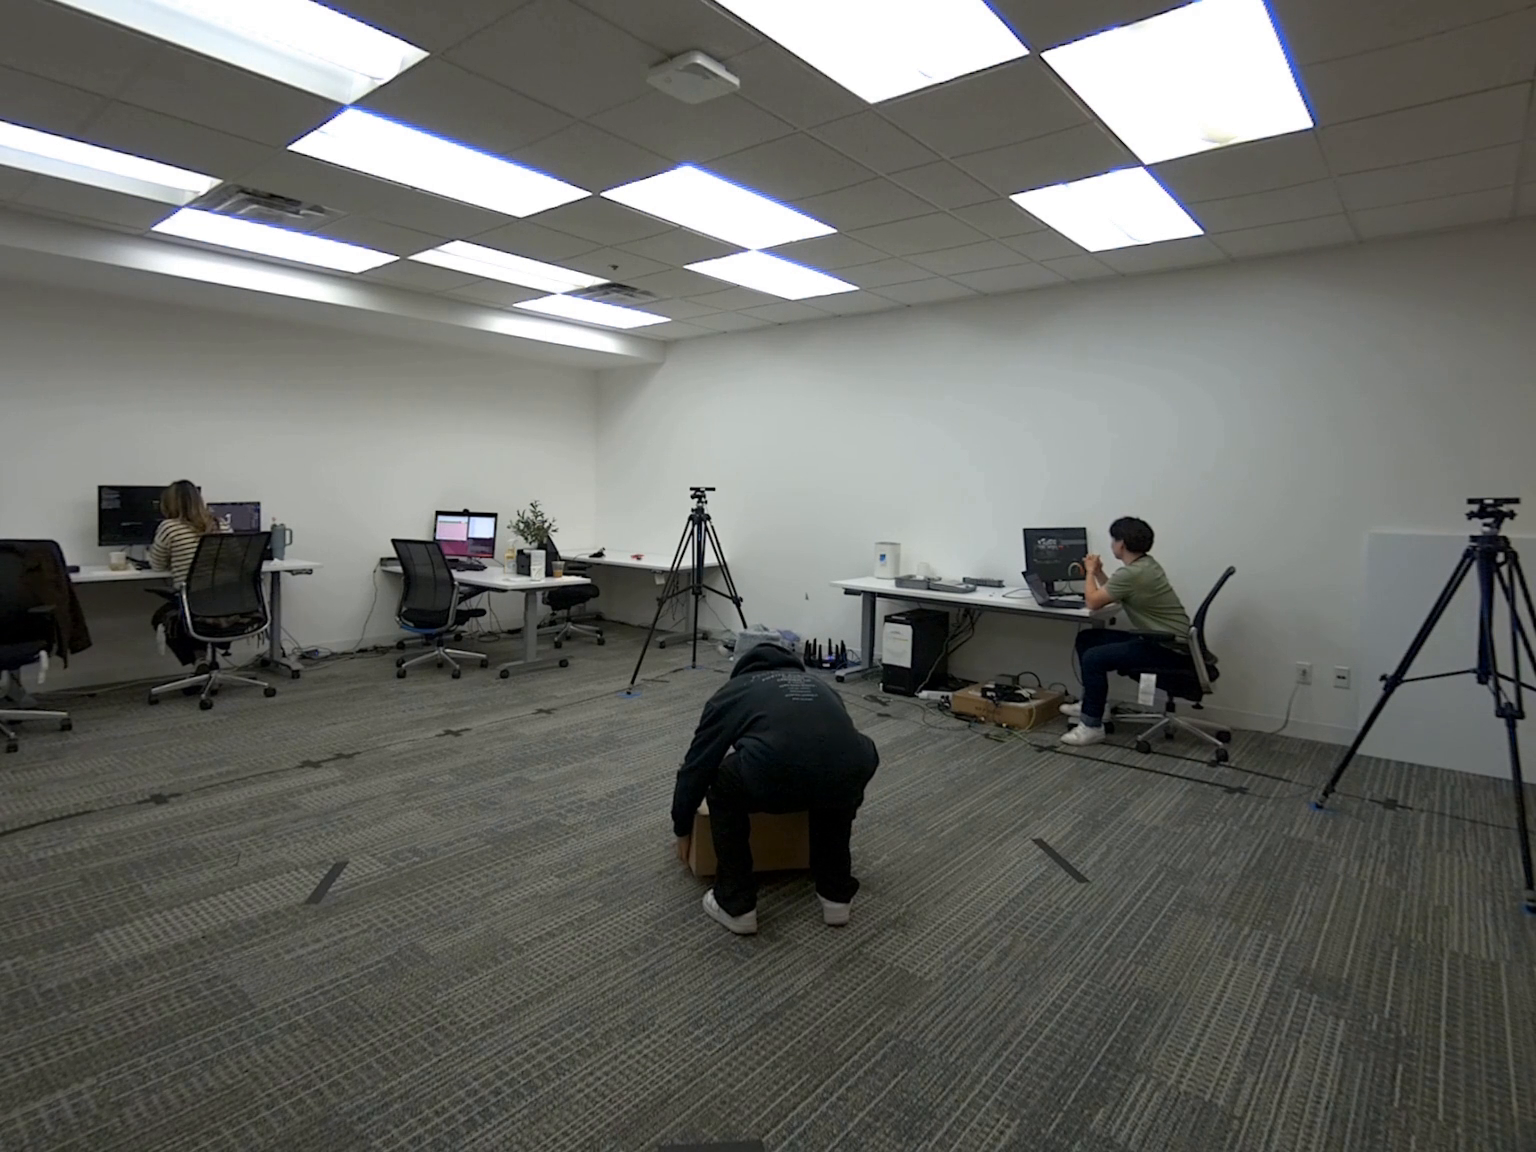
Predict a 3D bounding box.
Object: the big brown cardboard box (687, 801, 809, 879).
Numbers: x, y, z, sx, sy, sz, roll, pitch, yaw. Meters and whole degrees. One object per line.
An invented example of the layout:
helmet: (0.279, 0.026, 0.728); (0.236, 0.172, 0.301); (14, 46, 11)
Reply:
big brown cardboard box: (-0.044, 0.914, 3.193); (0.581, 0.233, 0.424); (1, 2, -13)
